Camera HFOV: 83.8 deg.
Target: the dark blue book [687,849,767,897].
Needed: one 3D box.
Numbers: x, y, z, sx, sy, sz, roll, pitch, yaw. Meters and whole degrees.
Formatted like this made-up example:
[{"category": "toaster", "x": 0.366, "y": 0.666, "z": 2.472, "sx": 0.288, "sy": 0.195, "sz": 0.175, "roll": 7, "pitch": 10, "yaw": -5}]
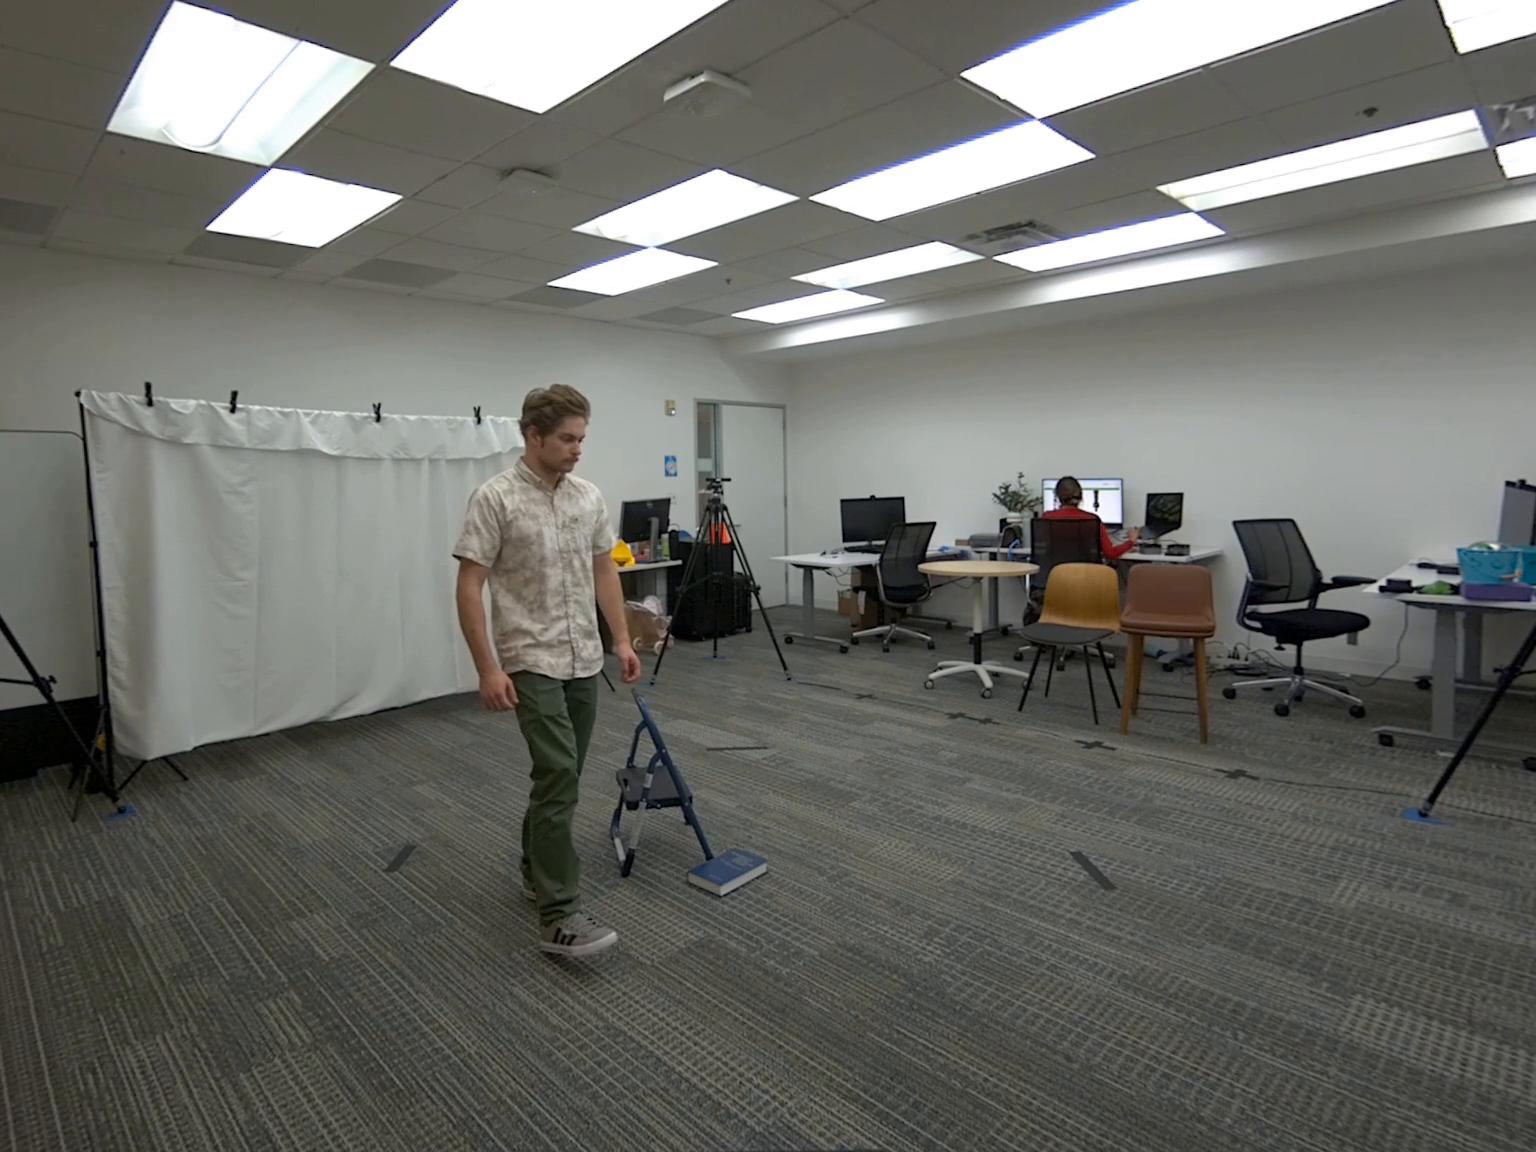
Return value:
[{"category": "dark blue book", "x": -0.138, "y": 1.032, "z": 2.990, "sx": 0.168, "sy": 0.045, "sz": 0.239, "roll": 5, "pitch": 8, "yaw": 41}]
